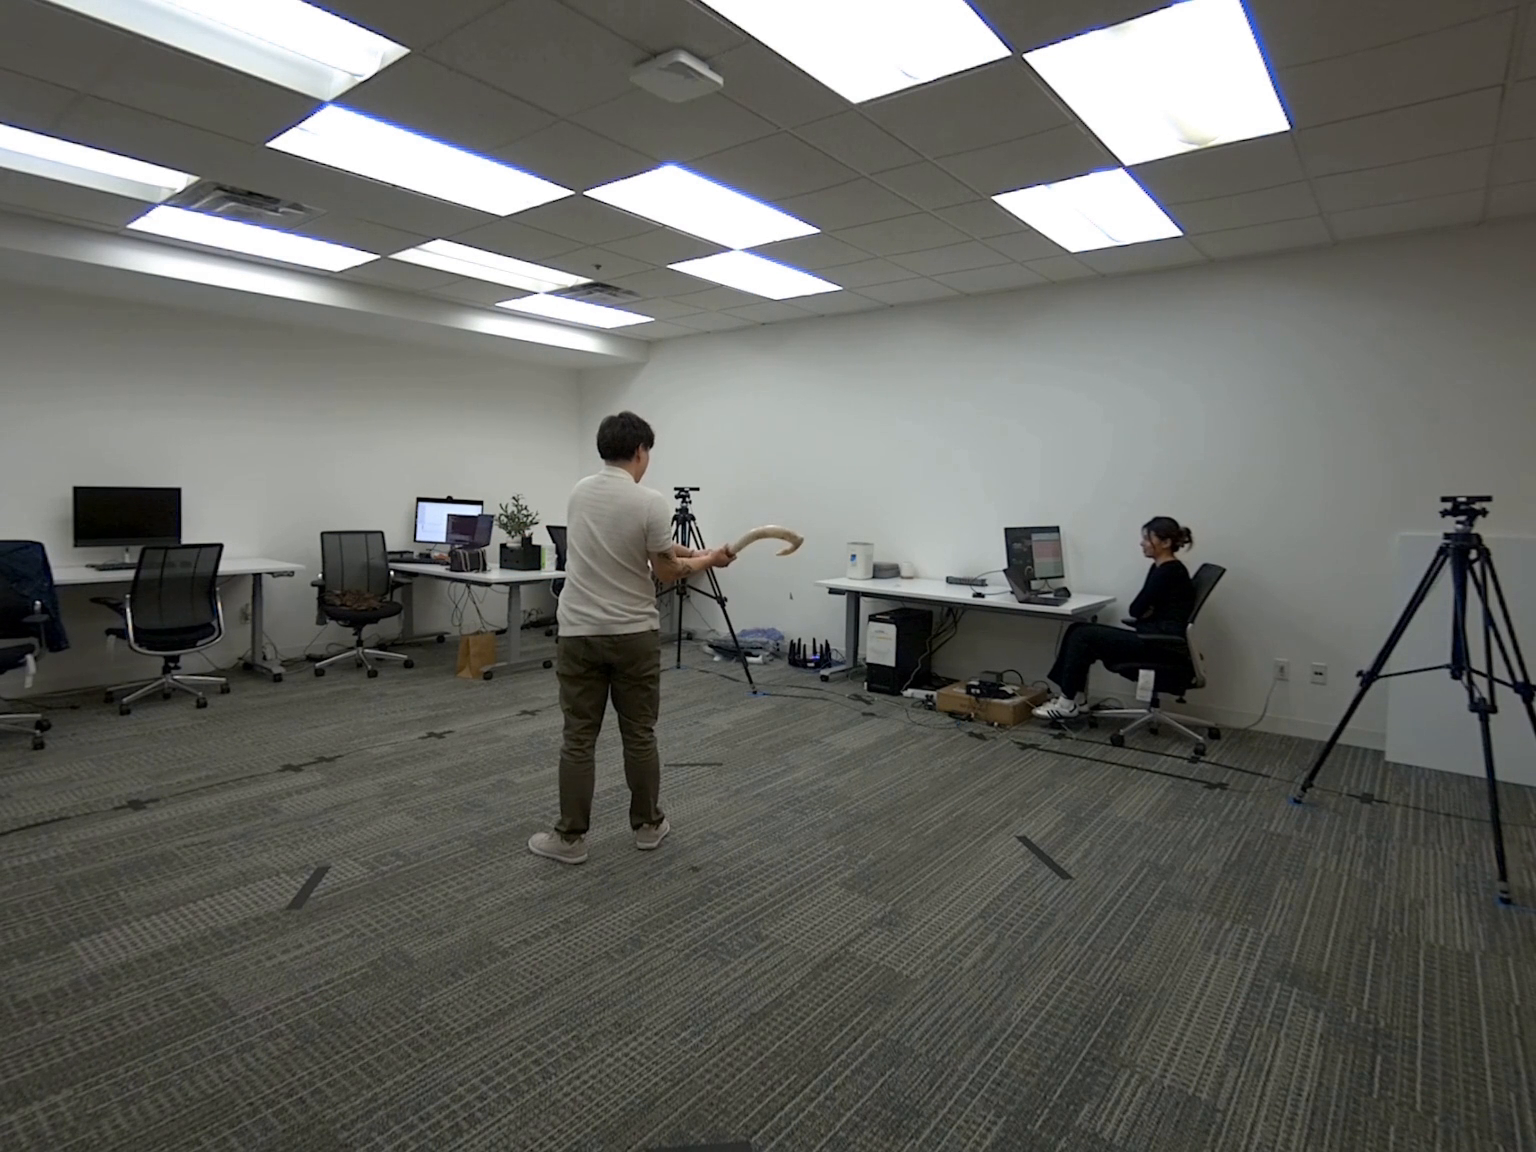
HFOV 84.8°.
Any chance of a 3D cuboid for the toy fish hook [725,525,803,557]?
[{"bbox_3d":[-0.083,-0.095,3.372,0.216,0.049,0.516,30,-33,-32],"label":"toy fish hook"}]
